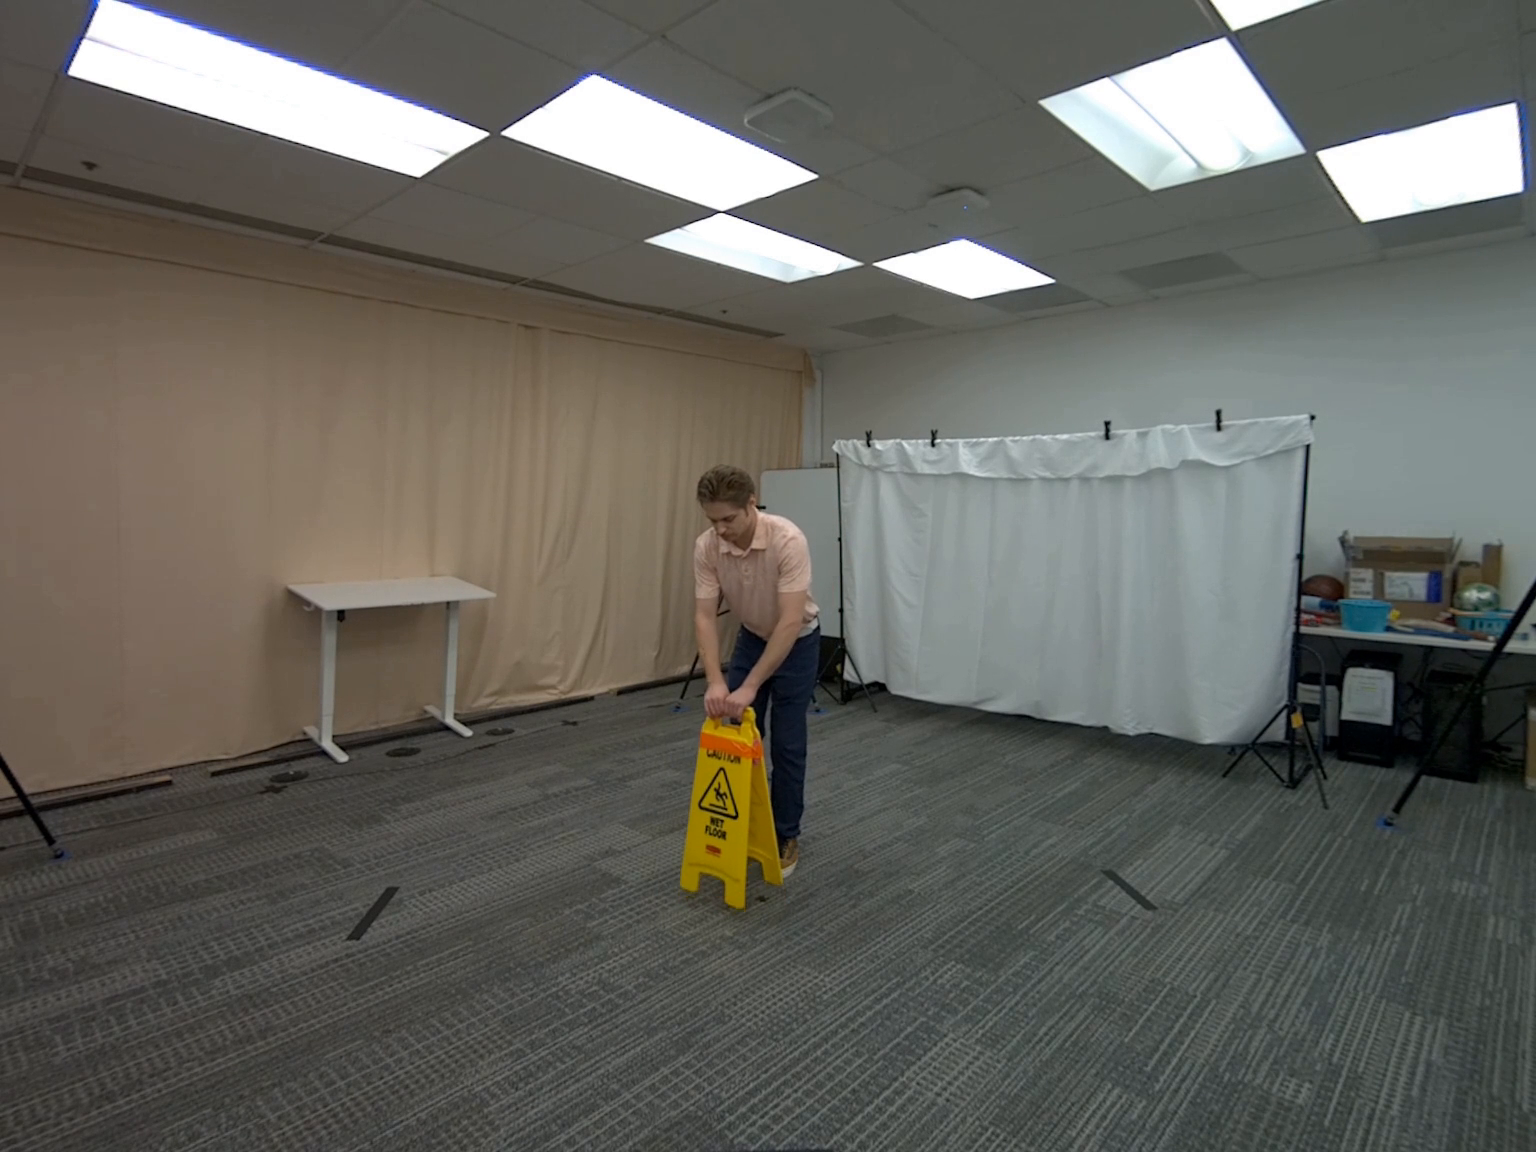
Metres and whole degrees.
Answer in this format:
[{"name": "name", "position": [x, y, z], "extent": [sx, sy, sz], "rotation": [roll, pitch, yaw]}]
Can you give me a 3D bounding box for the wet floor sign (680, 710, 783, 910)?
[{"name": "wet floor sign", "position": [-0.131, 0.765, 2.954], "extent": [0.291, 0.645, 0.281], "rotation": [1, 4, 39]}]
